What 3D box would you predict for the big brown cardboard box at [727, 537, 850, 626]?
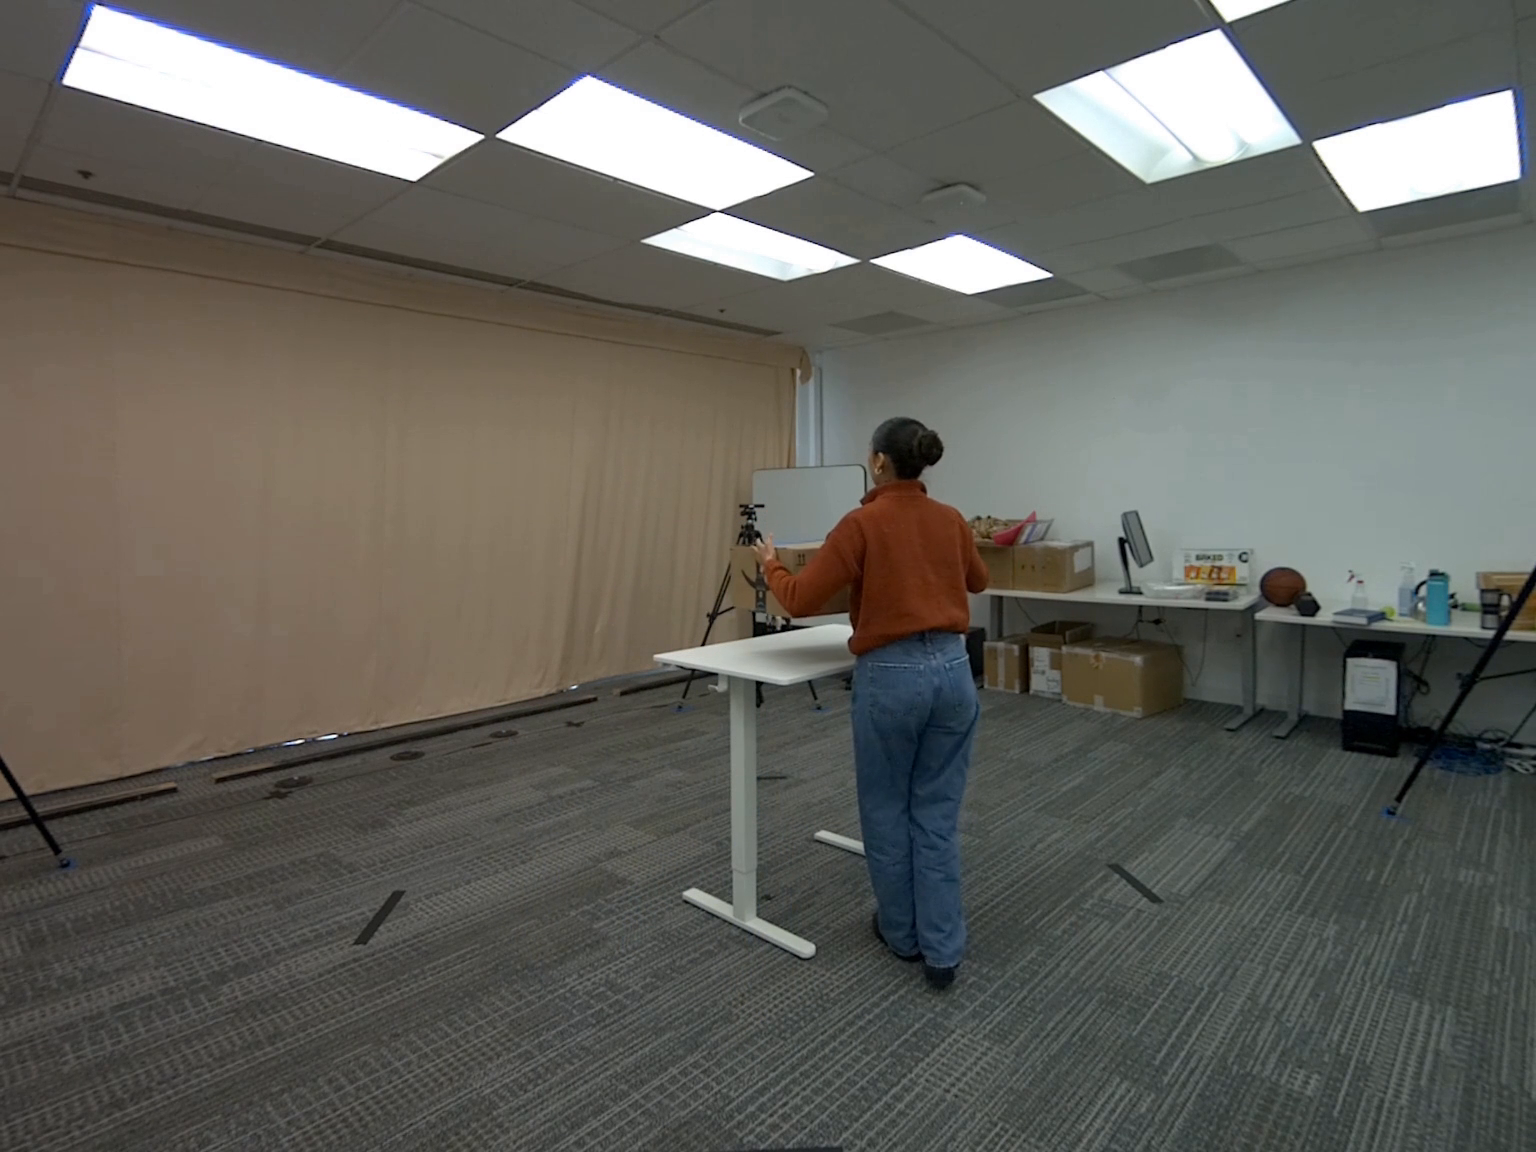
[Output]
[{"bbox_3d":[0.225,-0.004,2.862,0.574,0.232,0.429,-6,5,-28],"label":"big brown cardboard box"}]
